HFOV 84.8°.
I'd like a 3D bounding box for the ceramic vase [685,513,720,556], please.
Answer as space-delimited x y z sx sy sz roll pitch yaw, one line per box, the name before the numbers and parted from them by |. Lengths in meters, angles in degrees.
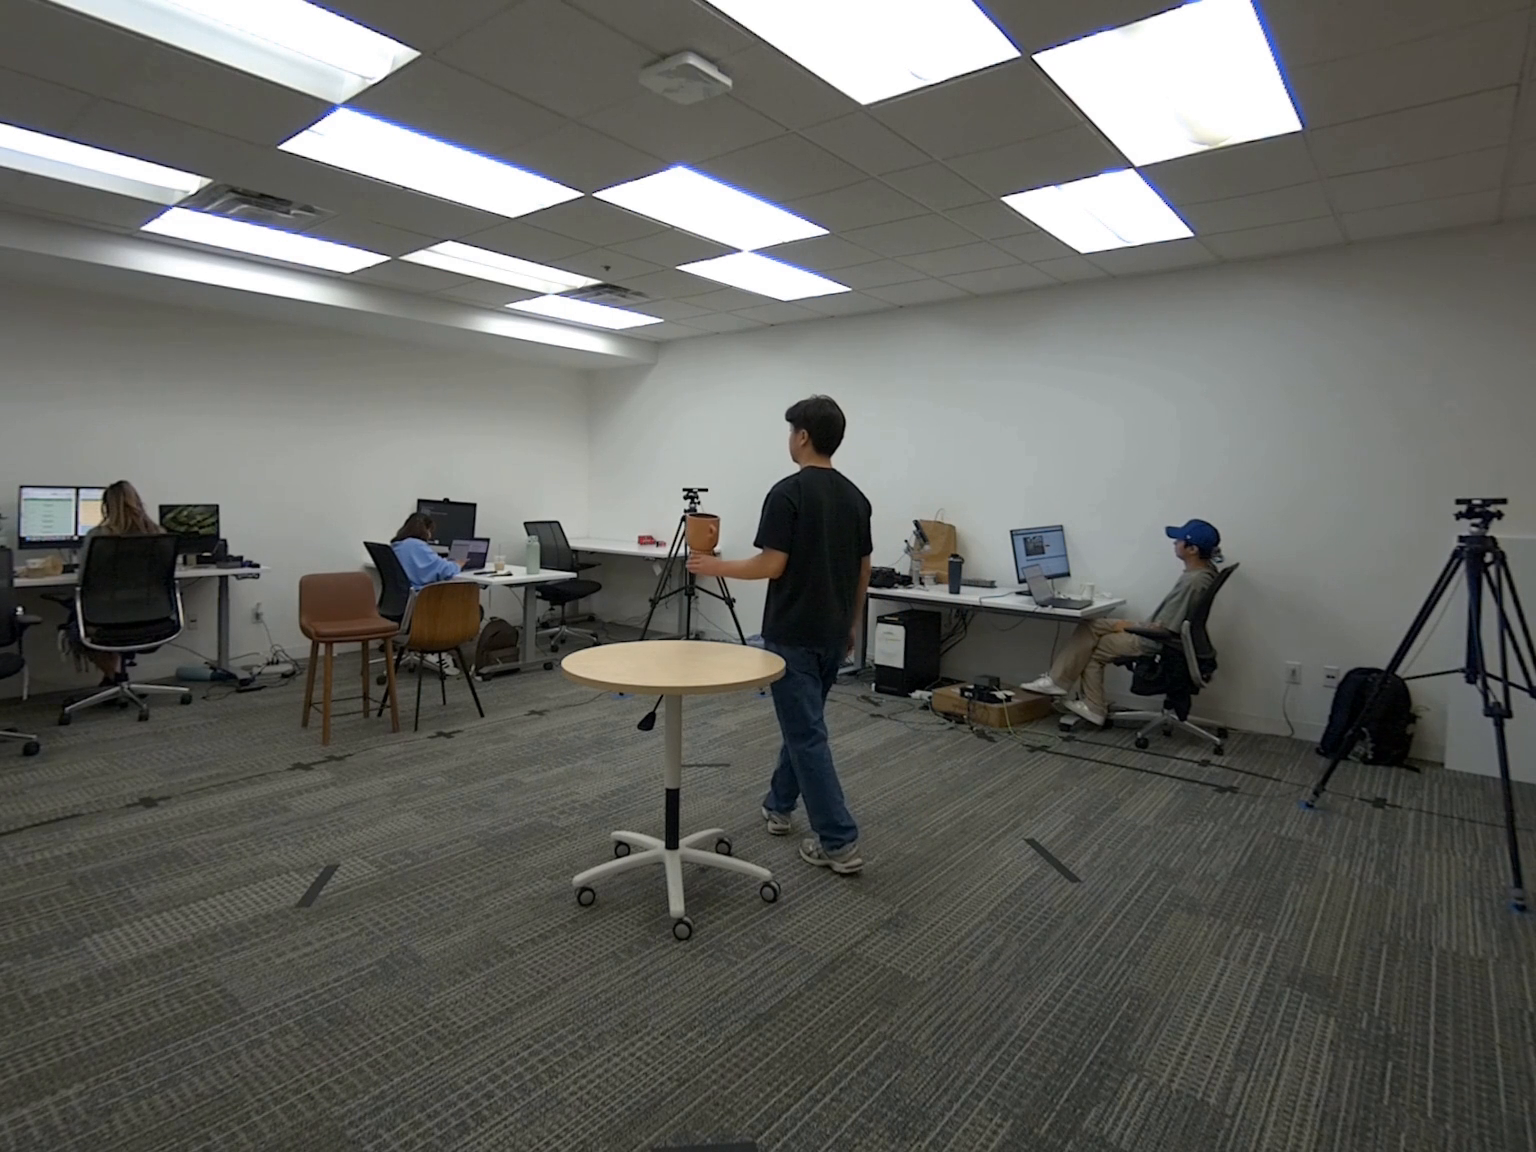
ceramic vase | -0.272 -0.135 3.370 0.136 0.217 0.159 6 12 7
